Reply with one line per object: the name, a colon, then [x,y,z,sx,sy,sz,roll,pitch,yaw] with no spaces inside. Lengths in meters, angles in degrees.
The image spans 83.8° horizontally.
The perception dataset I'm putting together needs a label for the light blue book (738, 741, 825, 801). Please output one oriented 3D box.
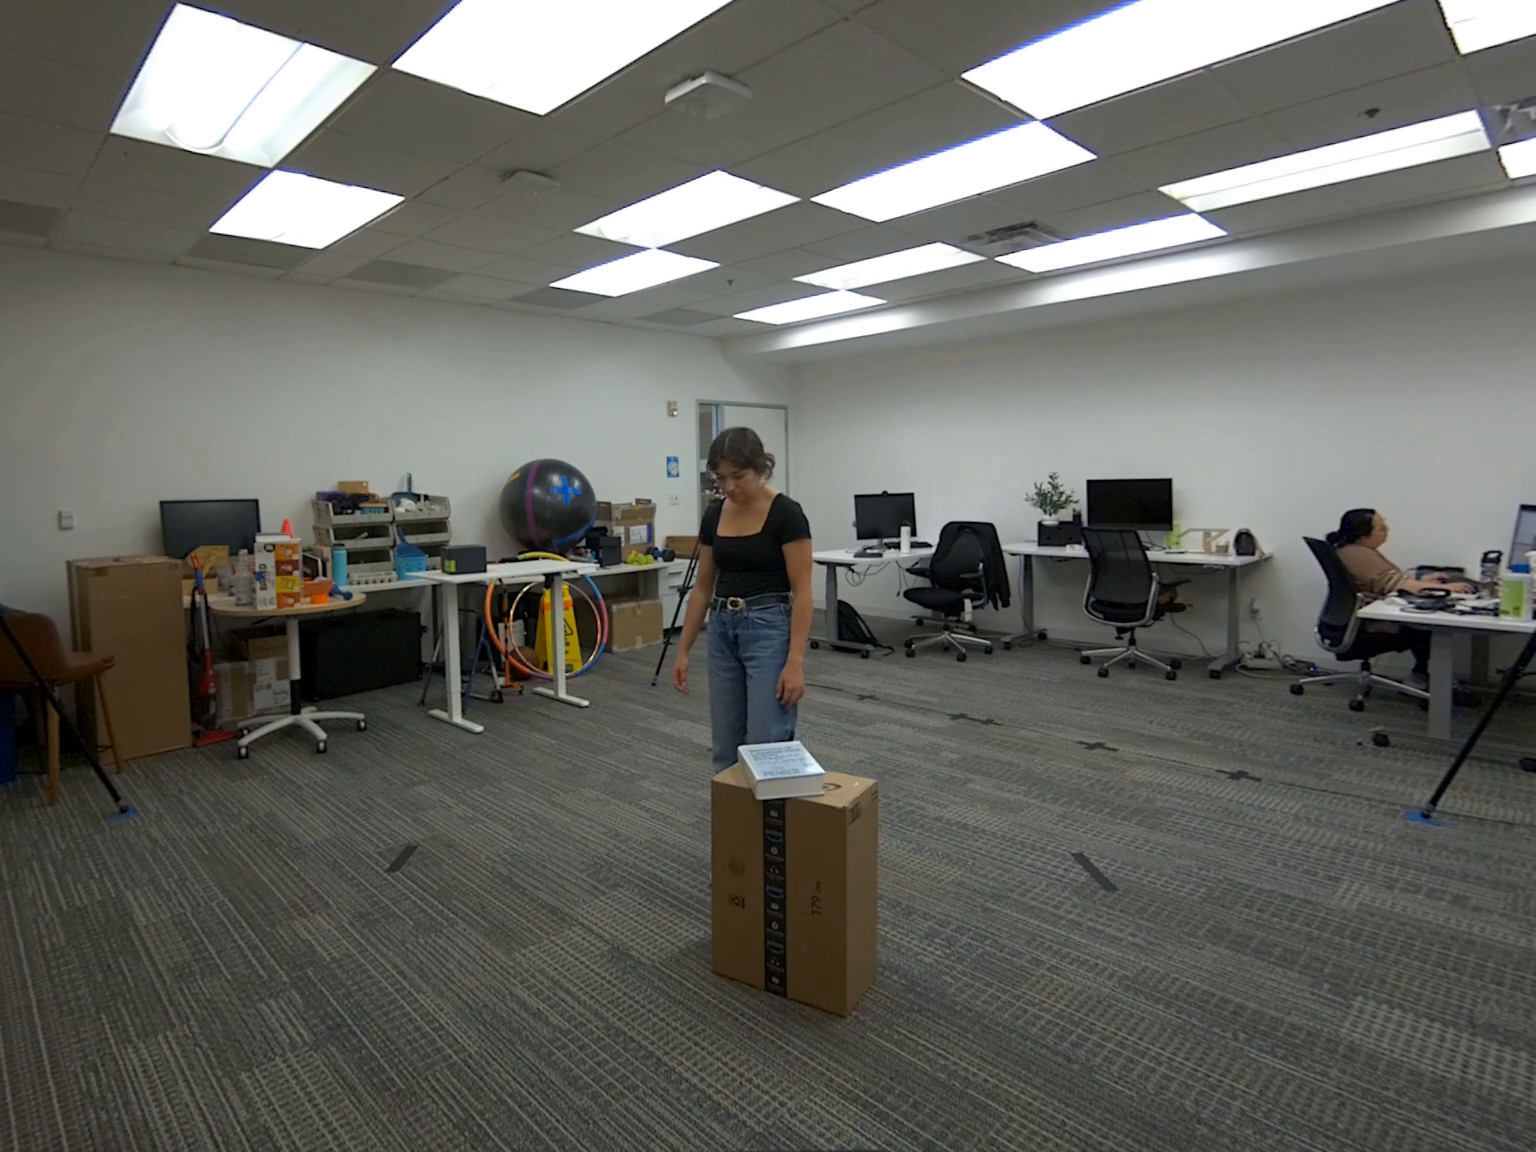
light blue book: [0.028,0.541,2.372,0.189,0.058,0.265,-3,8,-12]
